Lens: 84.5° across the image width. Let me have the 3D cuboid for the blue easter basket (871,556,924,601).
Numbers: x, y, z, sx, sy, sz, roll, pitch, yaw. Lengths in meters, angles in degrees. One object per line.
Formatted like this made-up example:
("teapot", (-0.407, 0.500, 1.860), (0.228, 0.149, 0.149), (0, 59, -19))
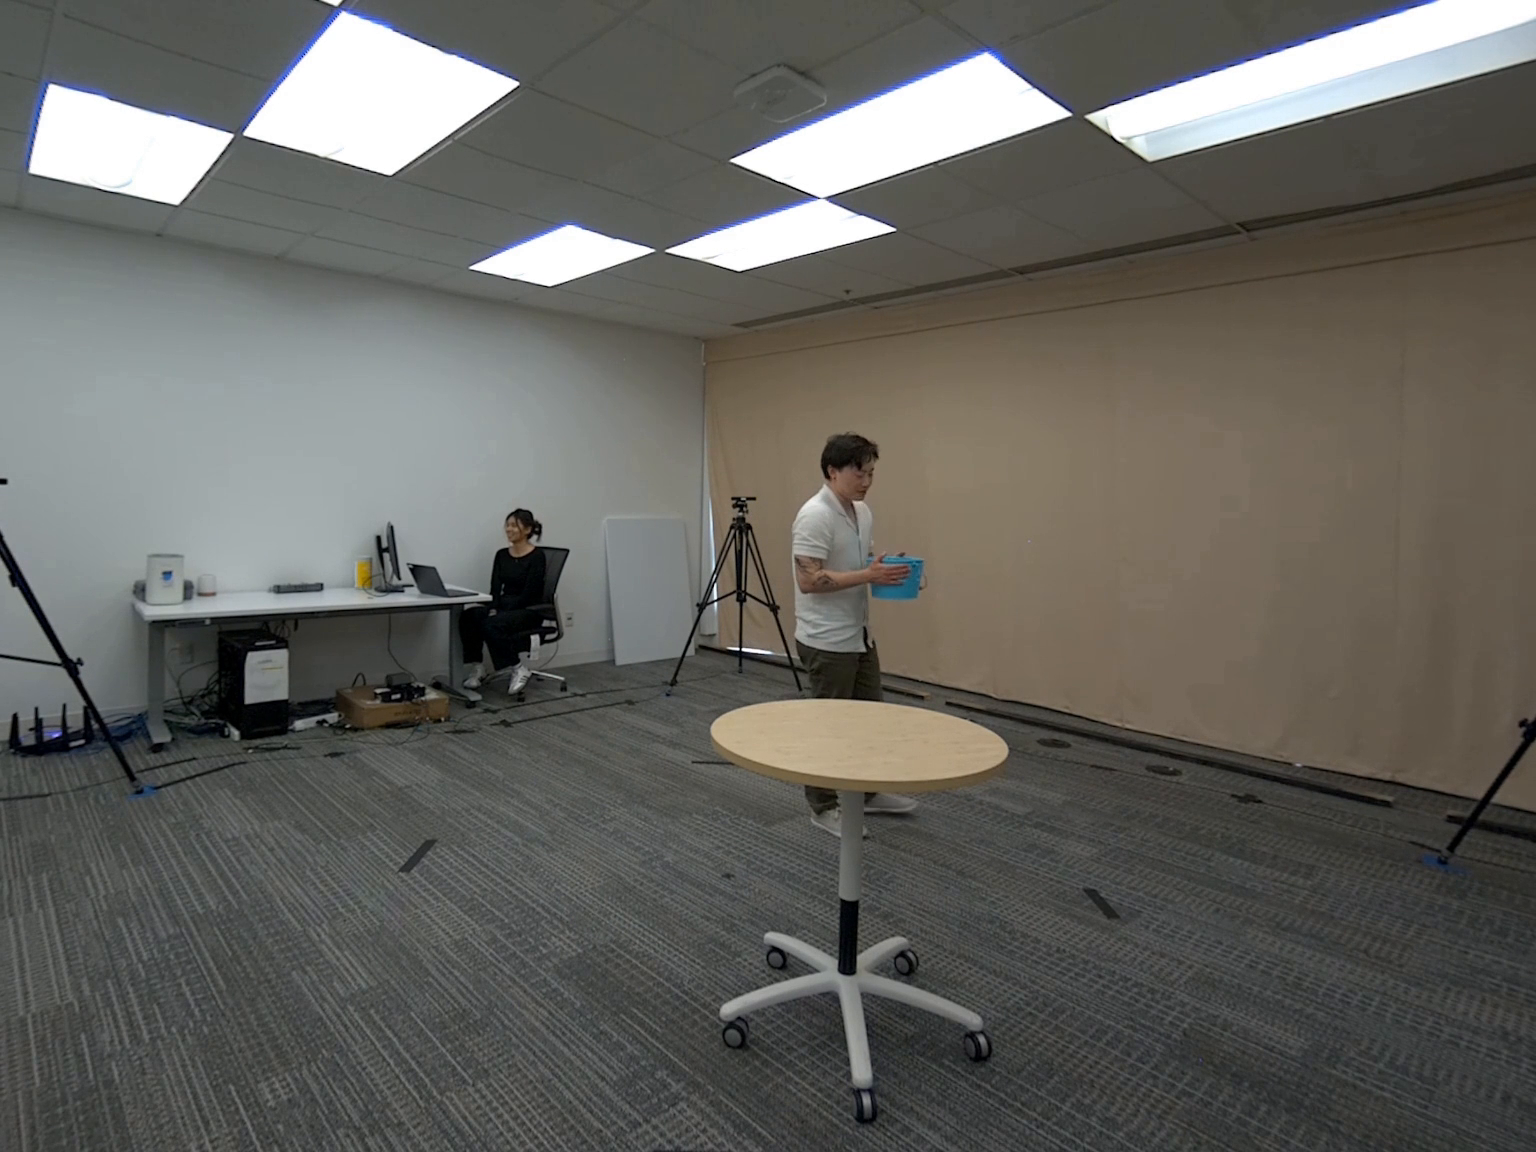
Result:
("blue easter basket", (0.500, 0.006, 3.363), (0.243, 0.155, 0.244), (1, 4, -1))
